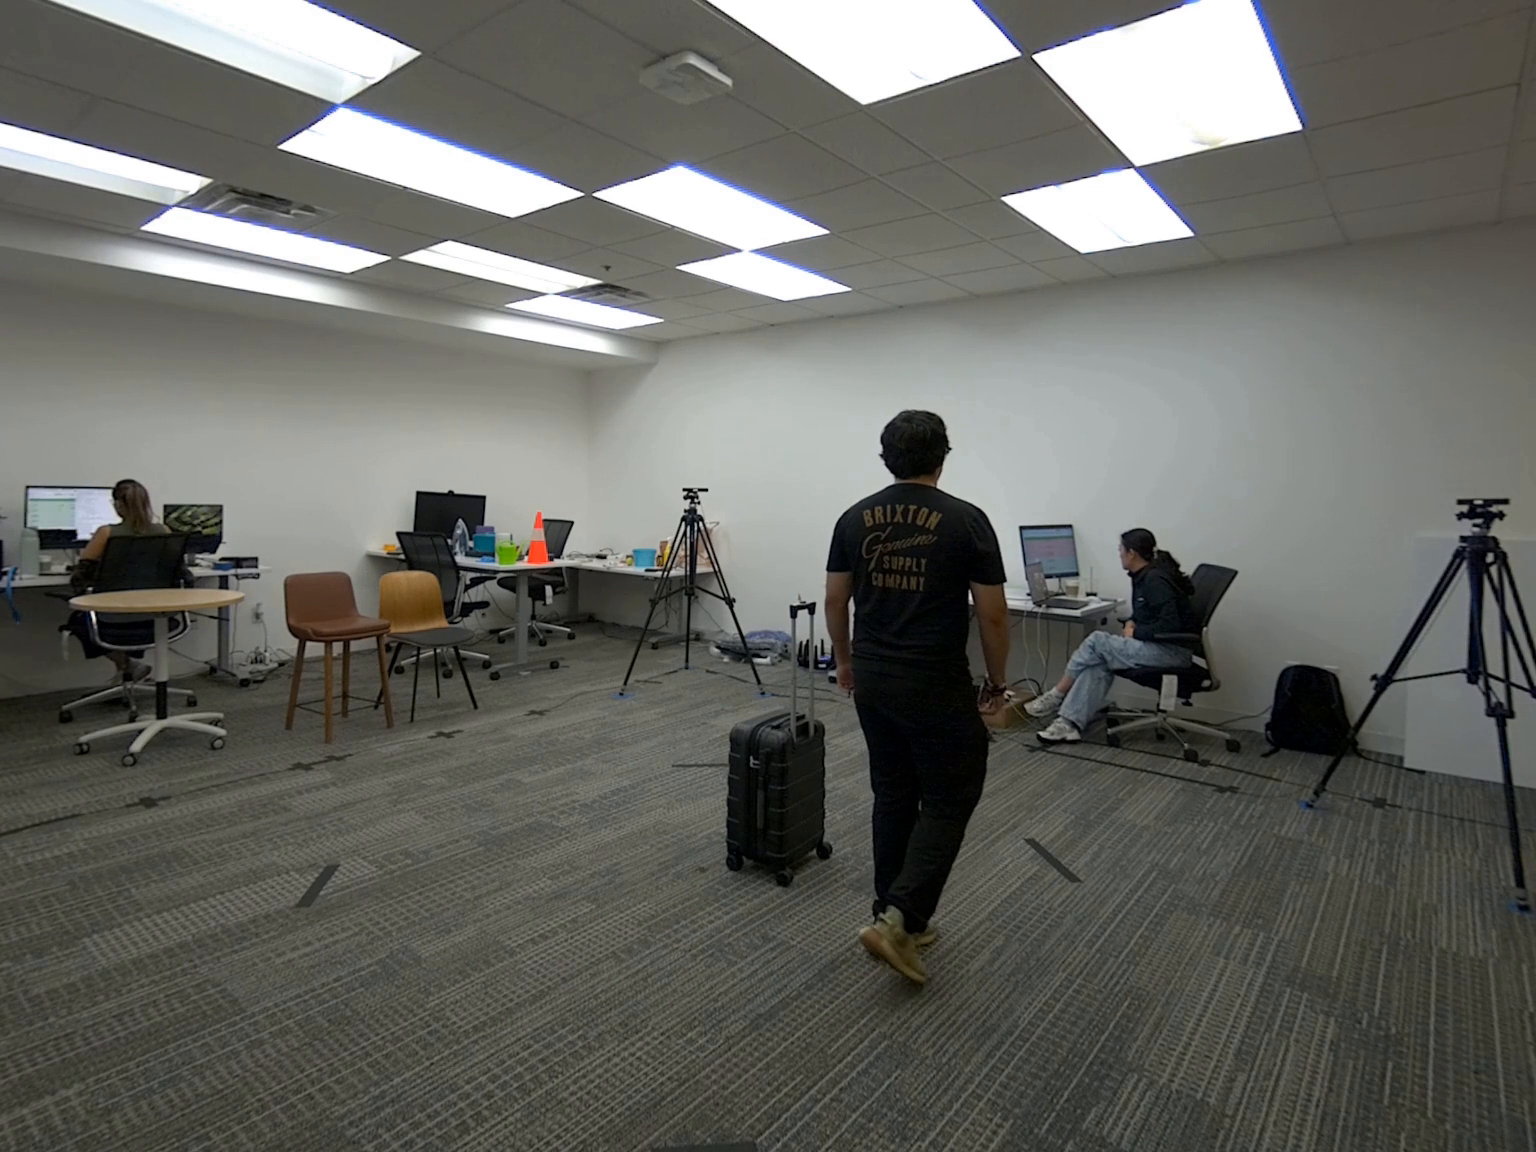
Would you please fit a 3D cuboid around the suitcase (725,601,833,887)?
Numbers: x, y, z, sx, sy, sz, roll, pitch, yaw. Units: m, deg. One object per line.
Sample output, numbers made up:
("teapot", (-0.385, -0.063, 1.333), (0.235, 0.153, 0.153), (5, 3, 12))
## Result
("suitcase", (0.025, 0.590, 3.170), (0.265, 0.978, 0.373), (-1, 1, 34))
